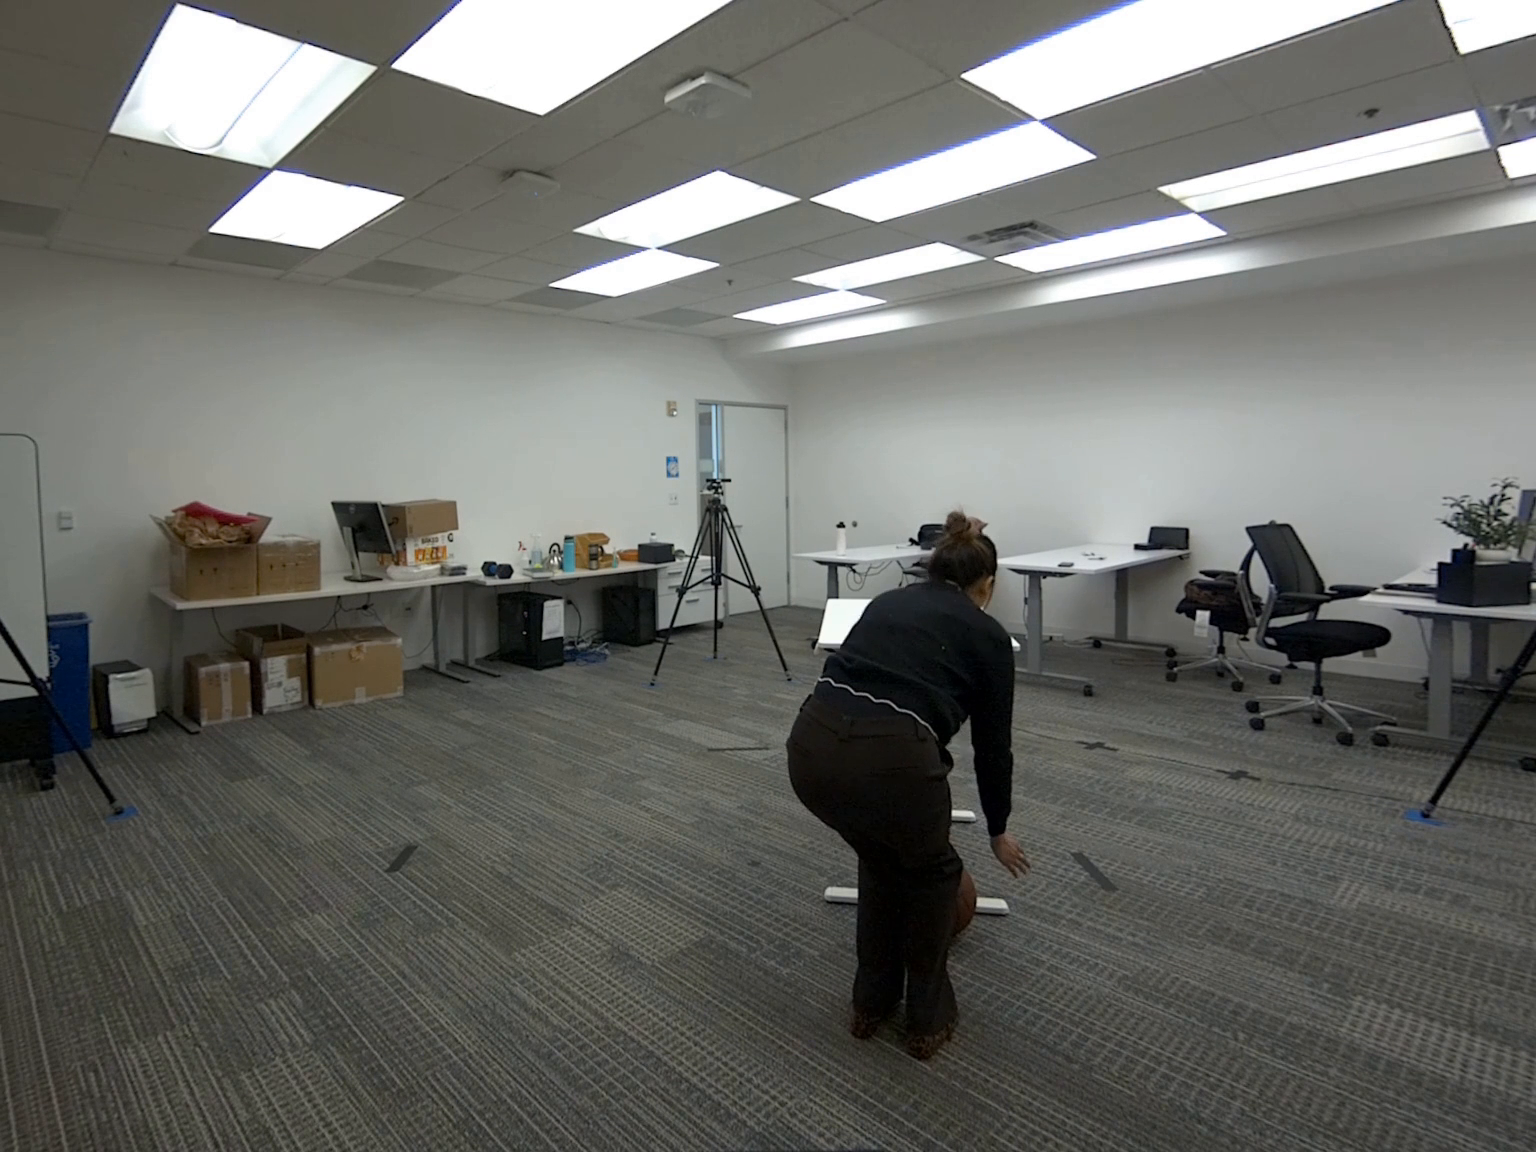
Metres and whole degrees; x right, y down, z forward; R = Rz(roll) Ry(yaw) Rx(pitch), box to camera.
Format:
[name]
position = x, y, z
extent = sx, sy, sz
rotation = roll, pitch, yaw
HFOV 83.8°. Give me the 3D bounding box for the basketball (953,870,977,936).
[basketball]
position = 0.530, 0.978, 2.595
extent = 0.236, 0.235, 0.237
rotation = -1, 5, -2
